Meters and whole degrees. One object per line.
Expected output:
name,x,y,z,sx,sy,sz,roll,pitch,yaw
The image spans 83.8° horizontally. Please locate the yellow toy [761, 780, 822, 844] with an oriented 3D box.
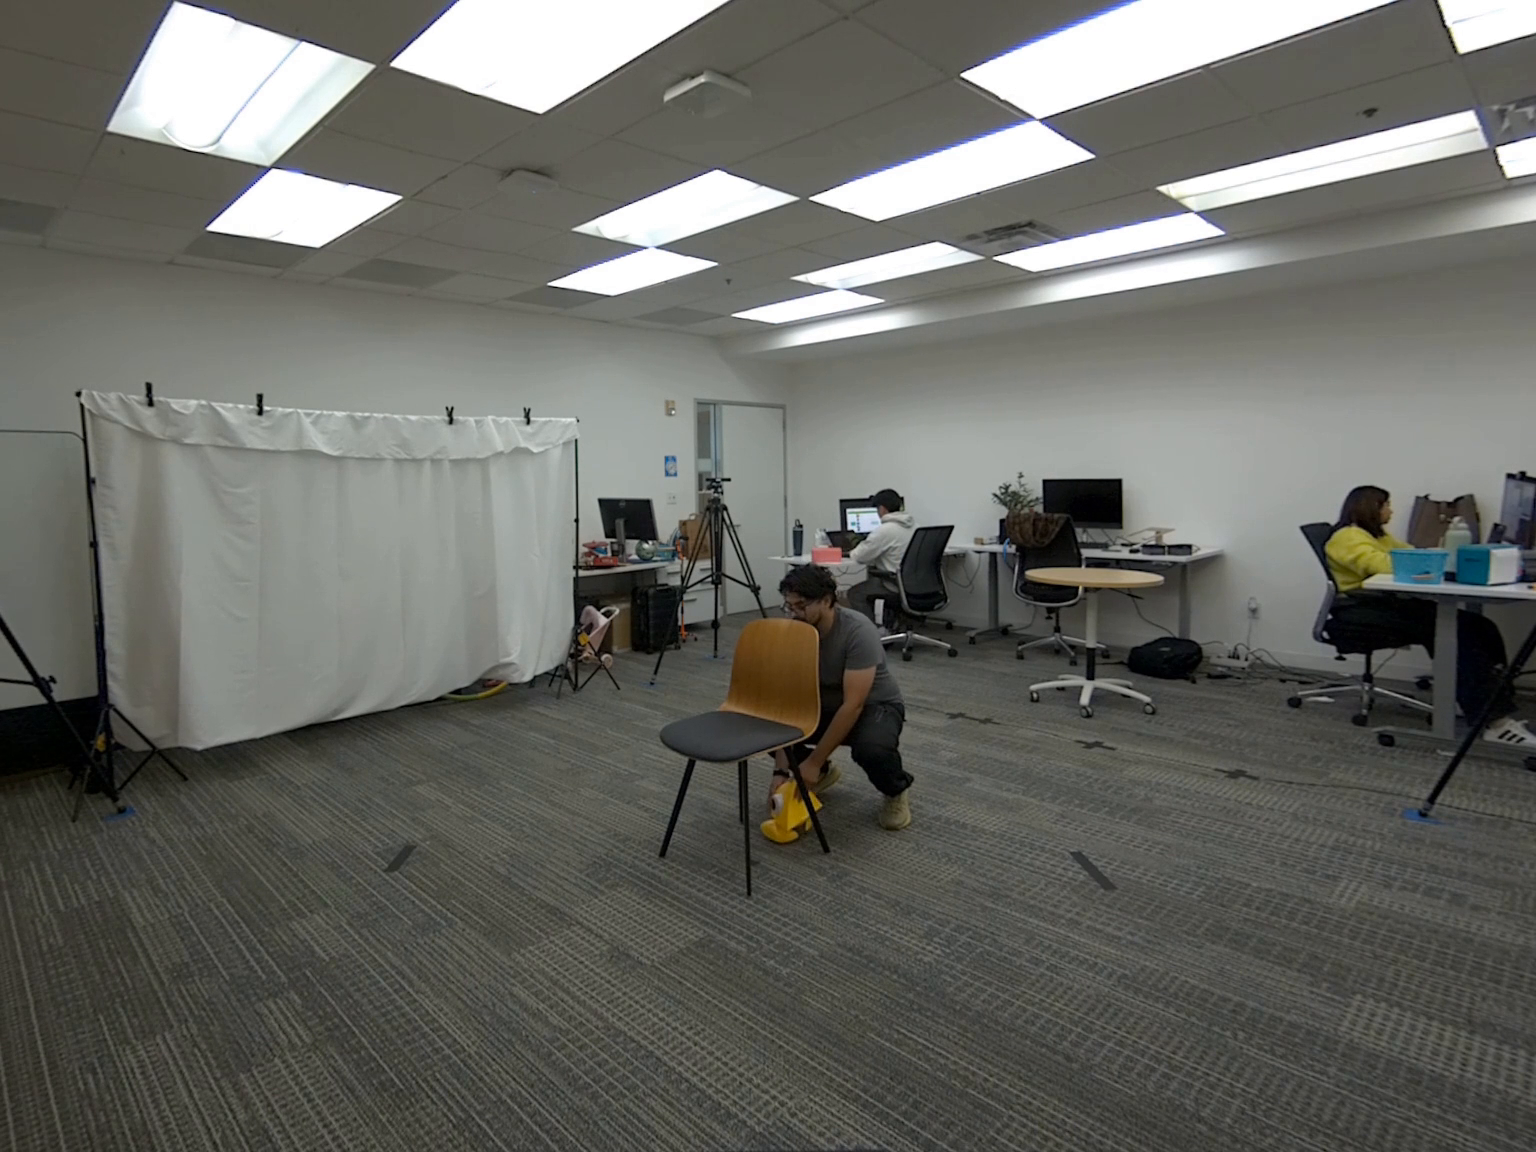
yellow toy,0.074,0.875,3.306,0.200,0.227,0.201,13,22,40
